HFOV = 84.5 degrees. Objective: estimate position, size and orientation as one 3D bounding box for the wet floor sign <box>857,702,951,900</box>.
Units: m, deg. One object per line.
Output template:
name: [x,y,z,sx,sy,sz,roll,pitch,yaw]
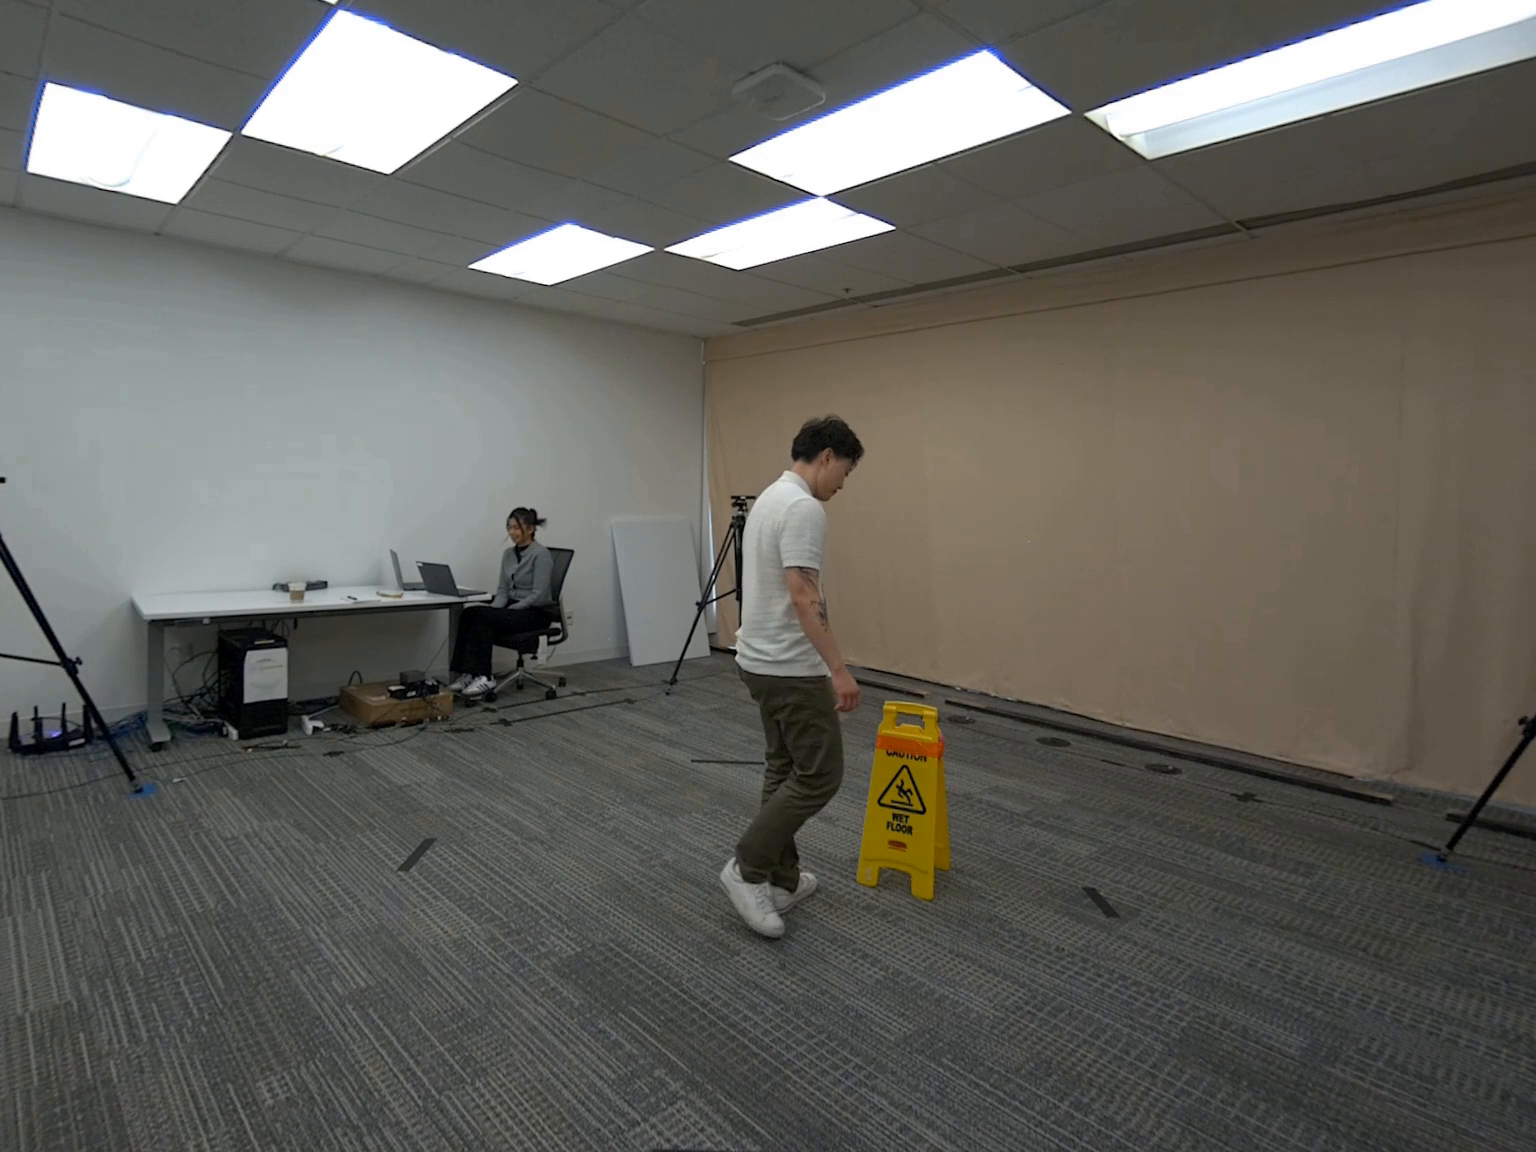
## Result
wet floor sign: [0.511,0.794,3.115,0.288,0.644,0.285,4,4,25]
